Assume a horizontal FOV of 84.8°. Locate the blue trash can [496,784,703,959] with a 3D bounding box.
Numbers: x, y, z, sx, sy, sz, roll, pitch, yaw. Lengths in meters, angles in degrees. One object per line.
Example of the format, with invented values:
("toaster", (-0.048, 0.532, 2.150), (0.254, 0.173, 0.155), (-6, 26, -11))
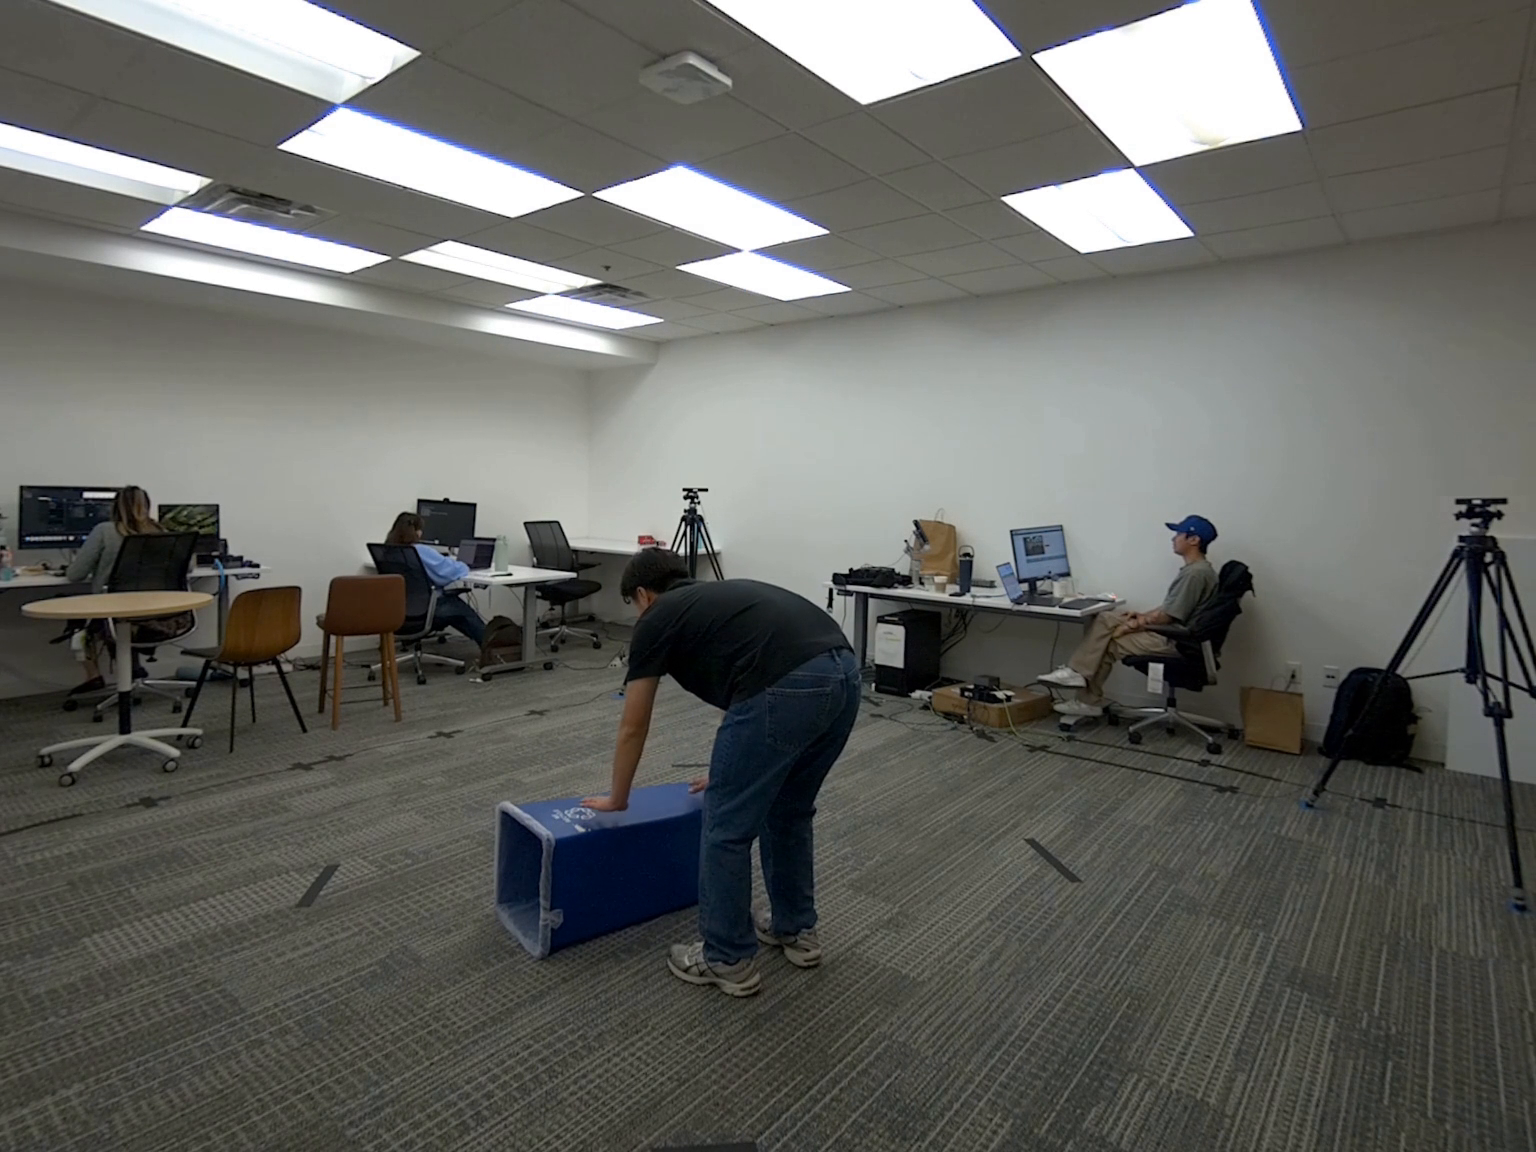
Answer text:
("blue trash can", (-0.510, 0.923, 2.831), (0.691, 0.377, 0.386), (1, 3, -38))
